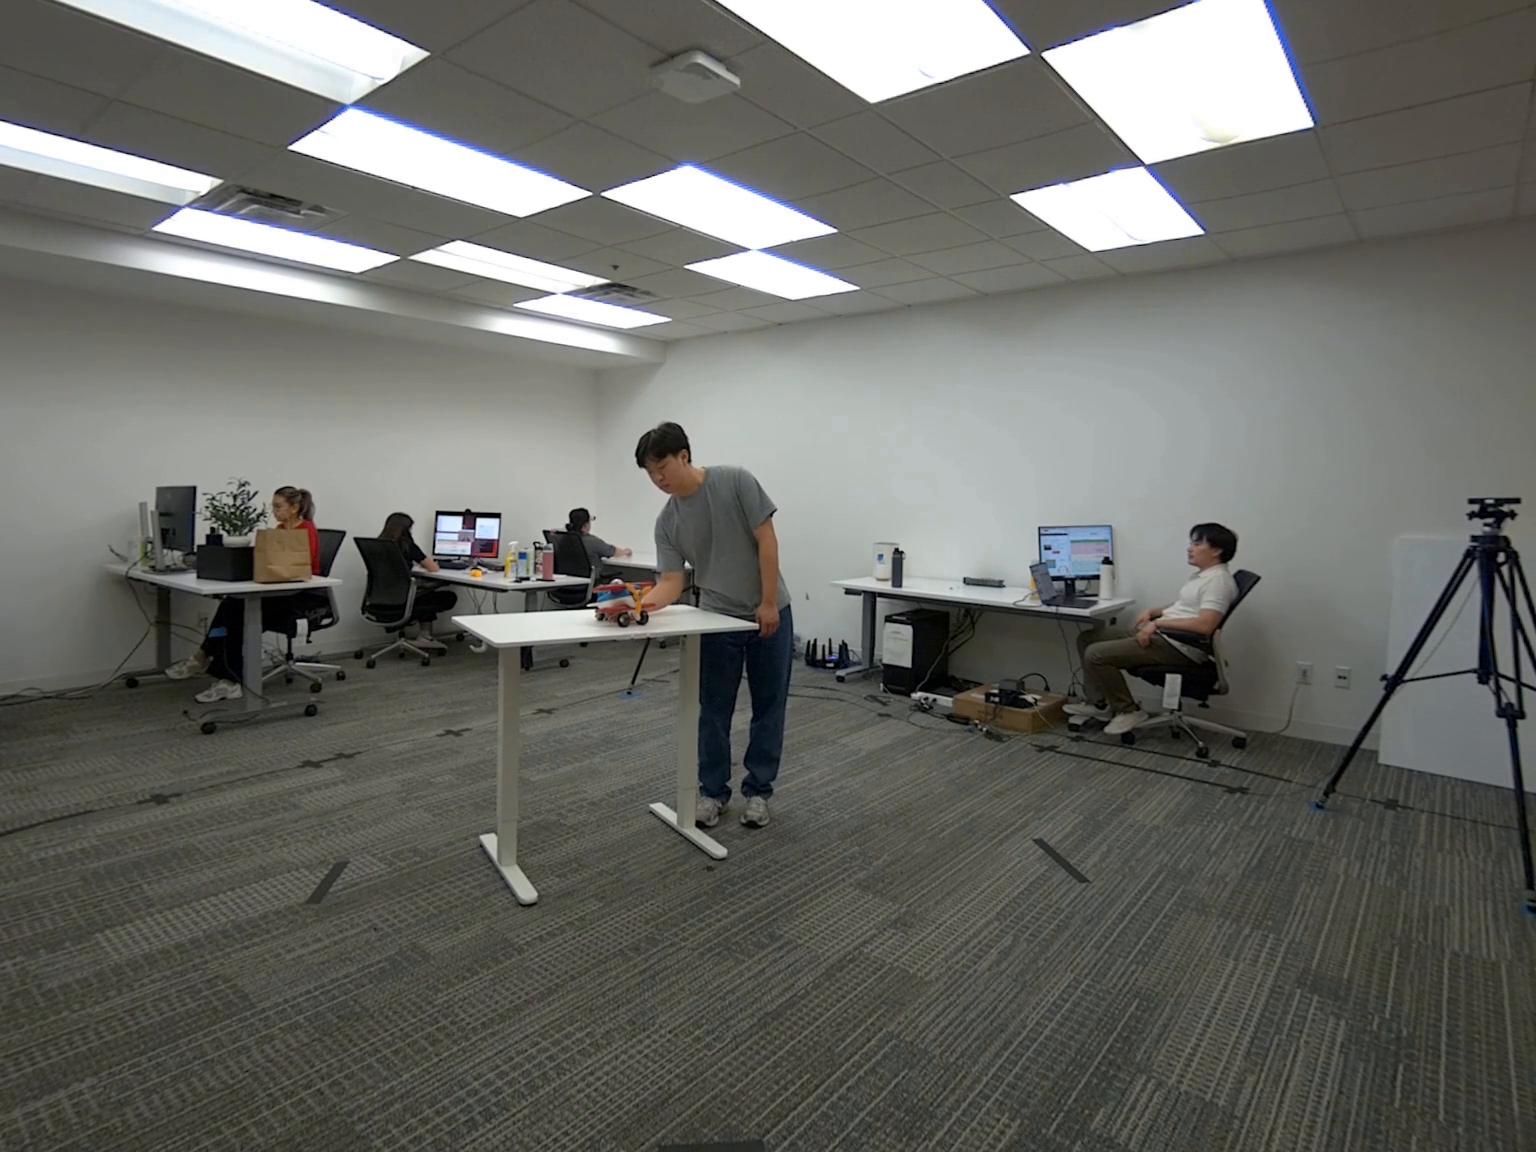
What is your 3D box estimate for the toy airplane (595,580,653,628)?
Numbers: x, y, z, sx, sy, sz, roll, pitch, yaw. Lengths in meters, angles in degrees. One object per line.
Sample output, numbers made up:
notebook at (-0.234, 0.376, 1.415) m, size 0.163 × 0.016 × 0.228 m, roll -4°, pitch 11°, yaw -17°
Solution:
toy airplane at (-0.576, 0.094, 3.143) m, size 0.264 × 0.156 × 0.247 m, roll 5°, pitch 4°, yaw 15°
